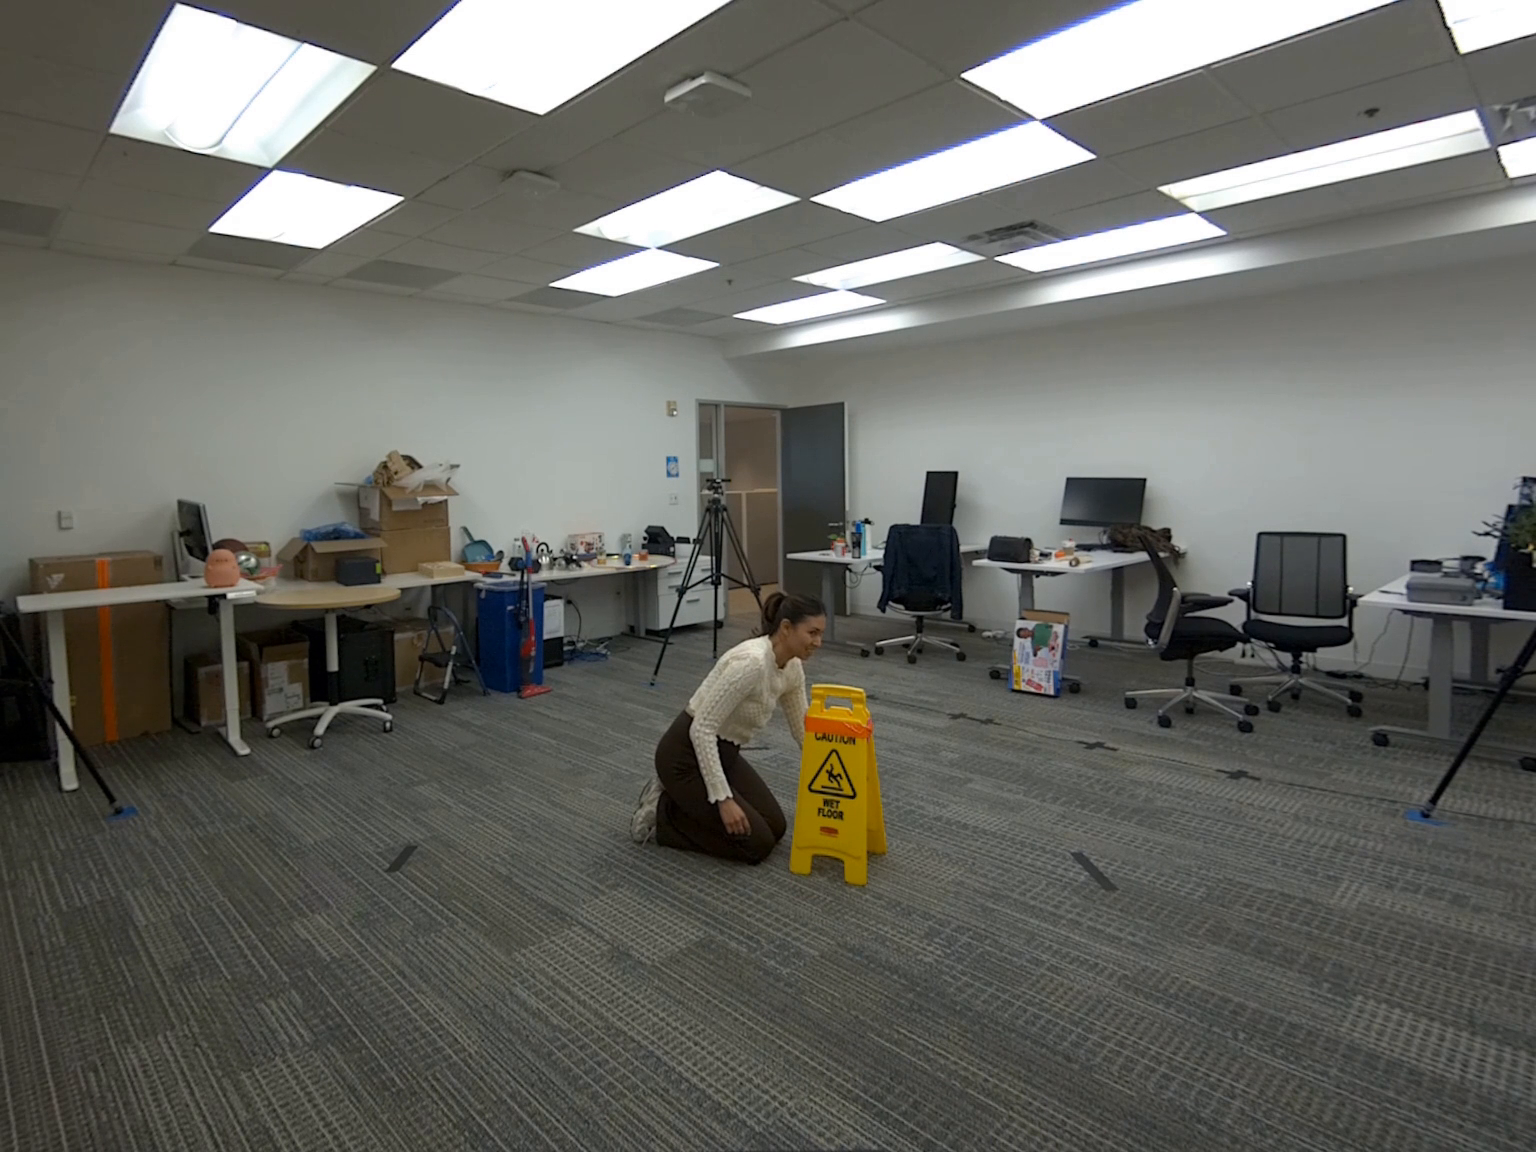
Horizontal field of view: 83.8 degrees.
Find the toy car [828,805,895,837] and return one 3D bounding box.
[{"bbox_3d":[0.357,0.944,3.299,0.128,0.084,0.256,20,-23,-18],"label":"toy car"}]
